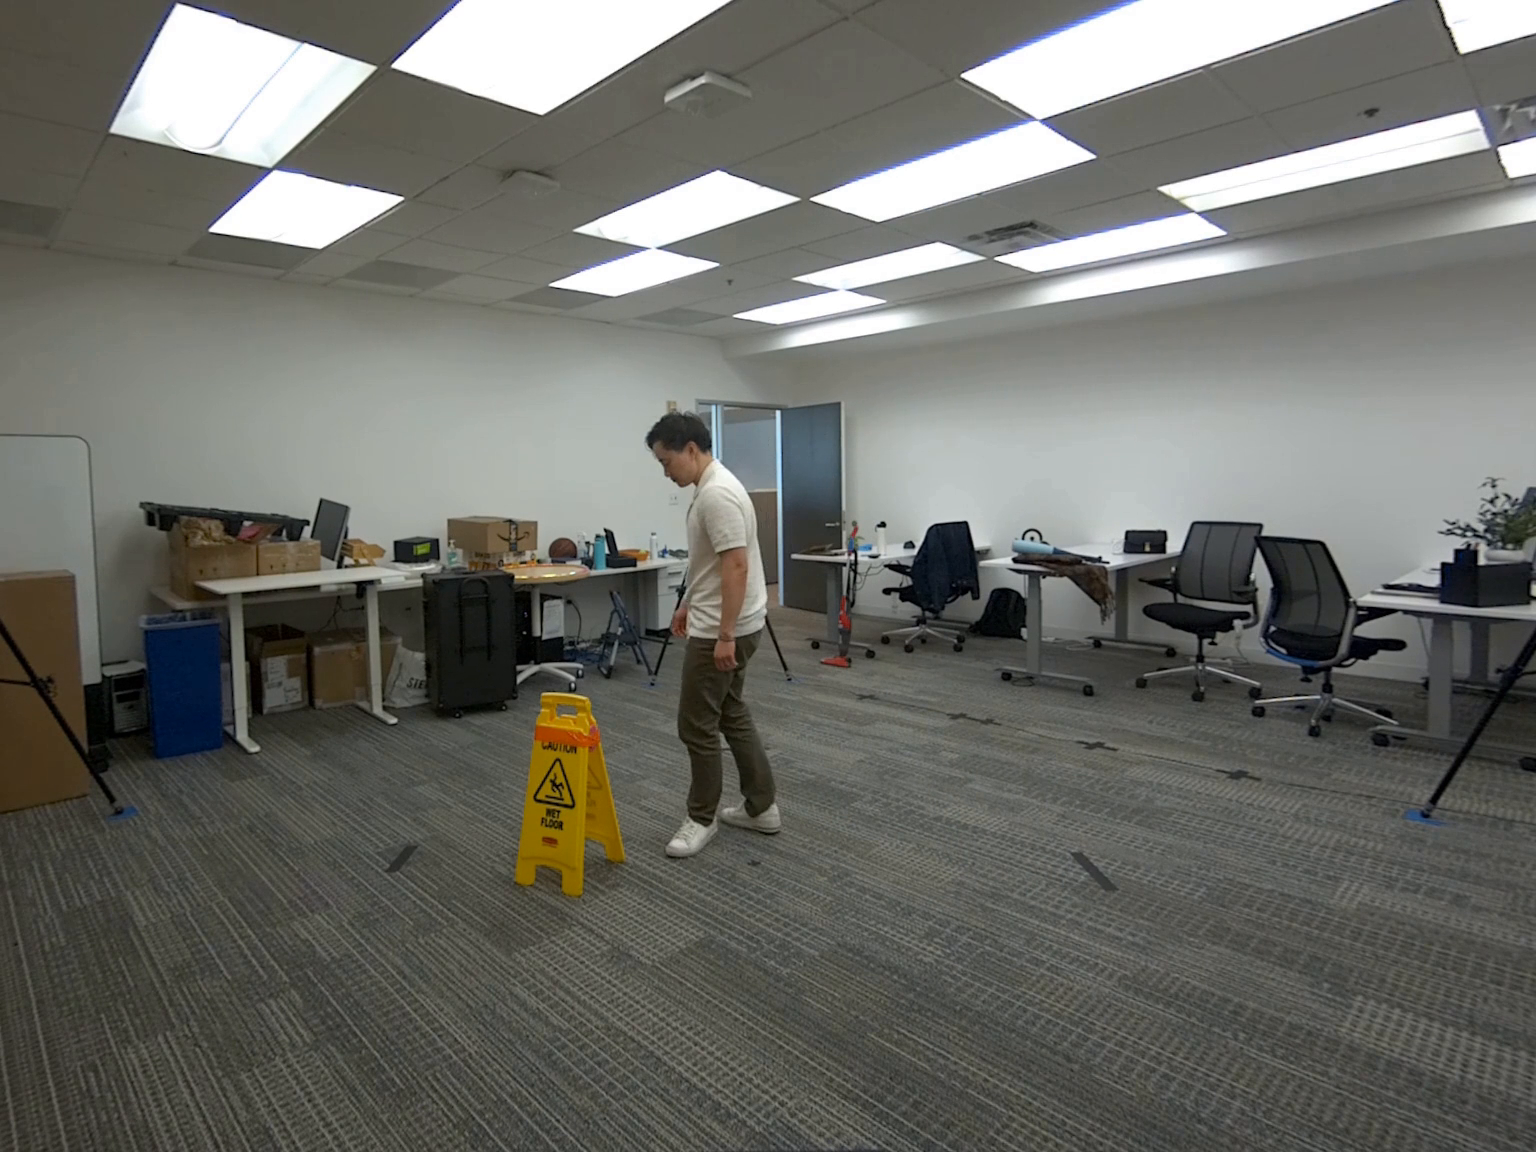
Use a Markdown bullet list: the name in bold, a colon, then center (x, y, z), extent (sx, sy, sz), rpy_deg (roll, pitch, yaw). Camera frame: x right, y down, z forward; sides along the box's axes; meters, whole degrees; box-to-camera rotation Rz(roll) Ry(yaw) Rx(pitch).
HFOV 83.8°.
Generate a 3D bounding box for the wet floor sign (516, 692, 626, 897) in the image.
- **wet floor sign**: center (-0.712, 0.742, 3.043), extent (0.288, 0.644, 0.284), rpy_deg (0, 4, 24)
